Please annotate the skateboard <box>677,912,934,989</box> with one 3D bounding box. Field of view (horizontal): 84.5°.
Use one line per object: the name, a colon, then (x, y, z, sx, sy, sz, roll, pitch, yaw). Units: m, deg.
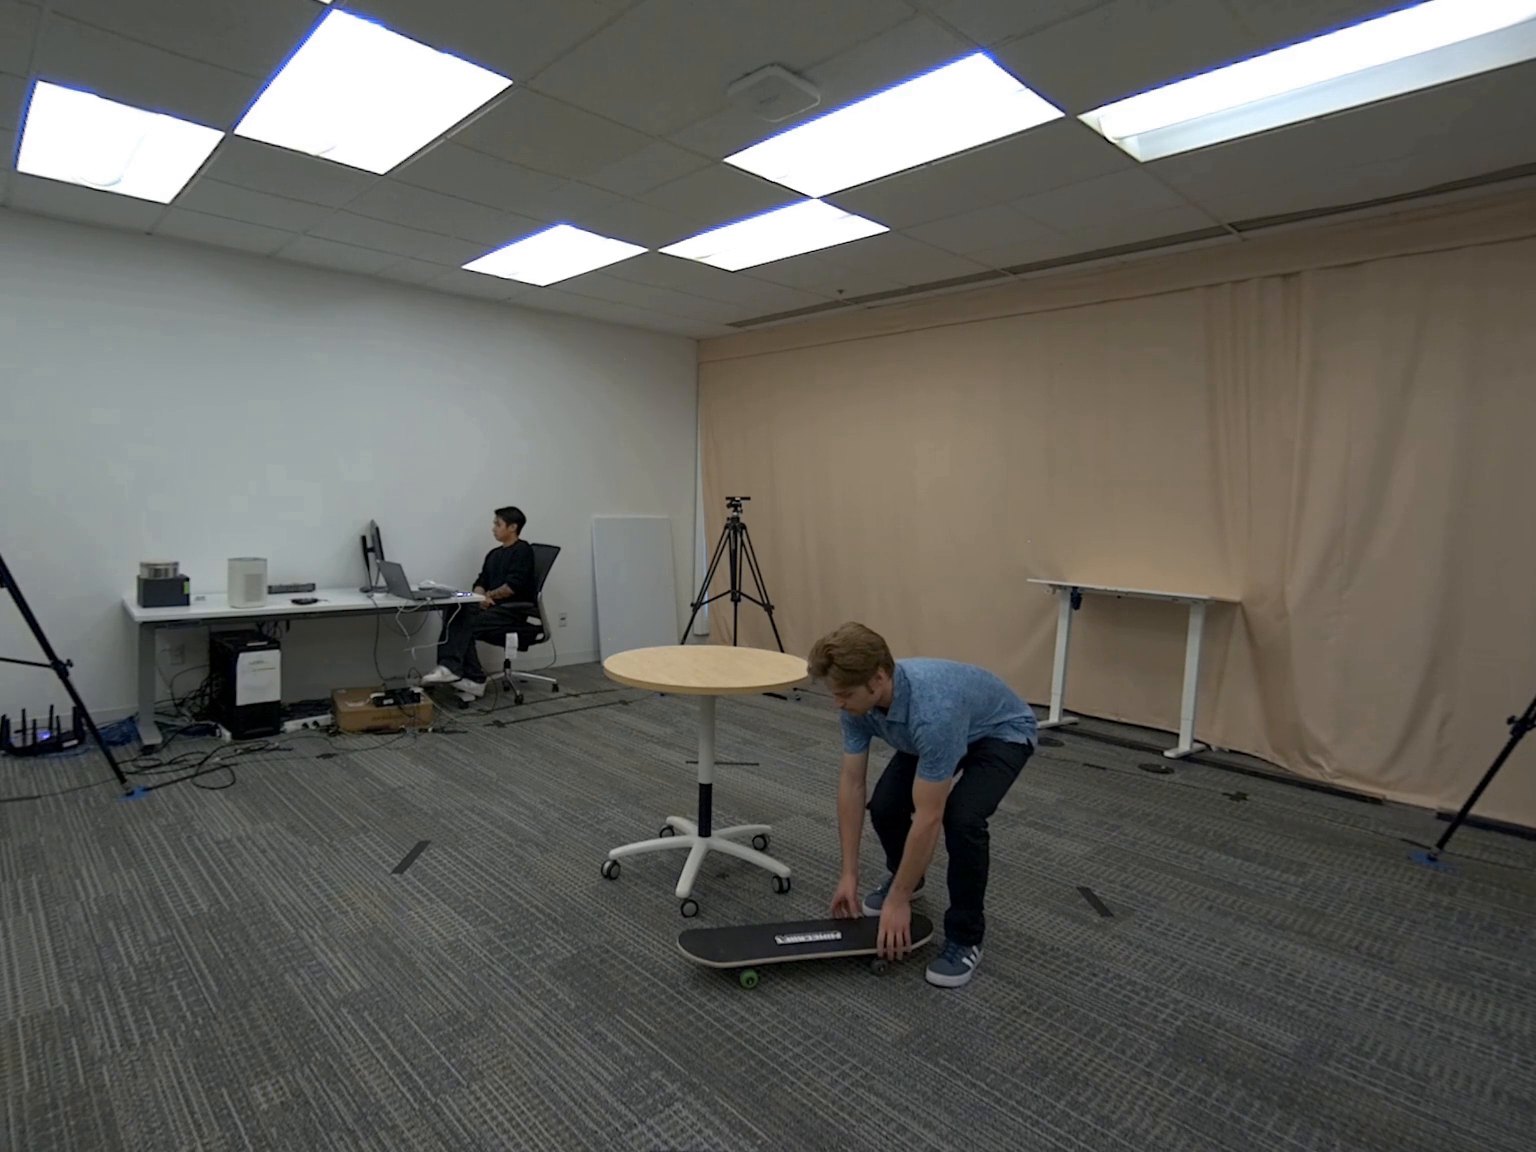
skateboard: (0.112, 1.111, 2.516, 0.779, 0.110, 0.196, 1, 5, -10)
